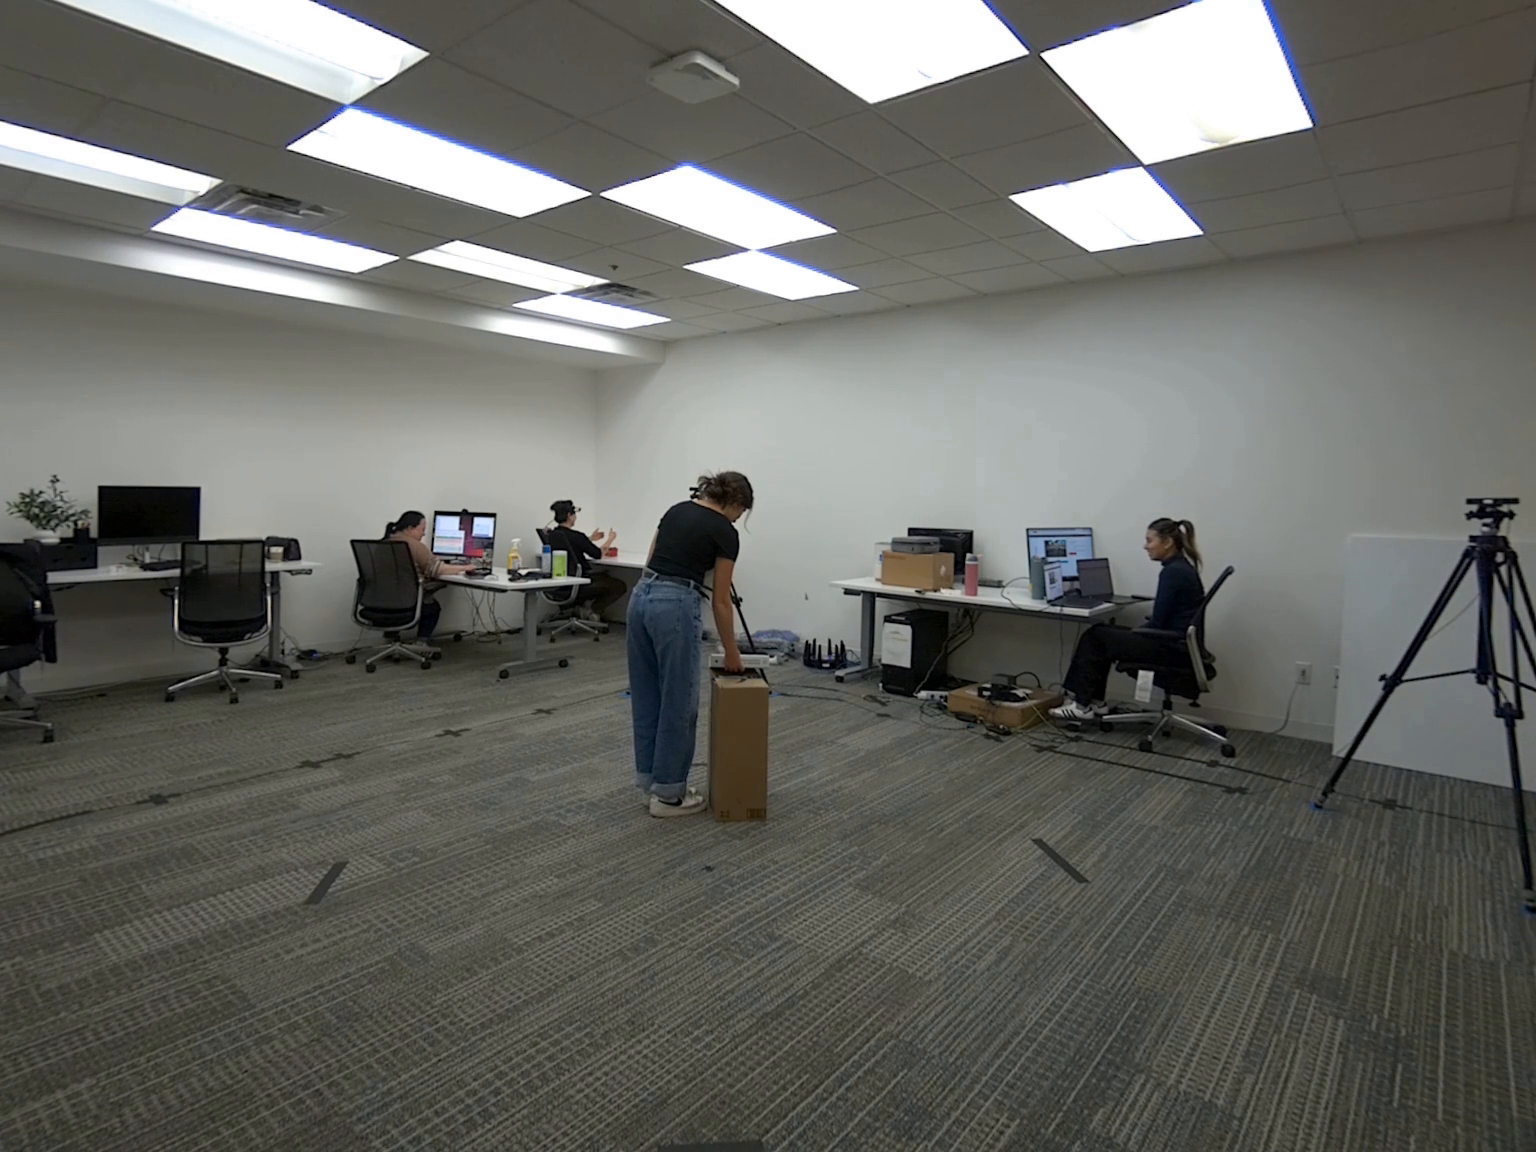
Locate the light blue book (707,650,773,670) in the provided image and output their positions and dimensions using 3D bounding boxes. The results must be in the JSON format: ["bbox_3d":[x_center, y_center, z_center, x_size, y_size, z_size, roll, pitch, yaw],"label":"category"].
[{"bbox_3d":[-0.151,0.387,3.880,0.260,0.059,0.191,2,-3,-5],"label":"light blue book"}]
